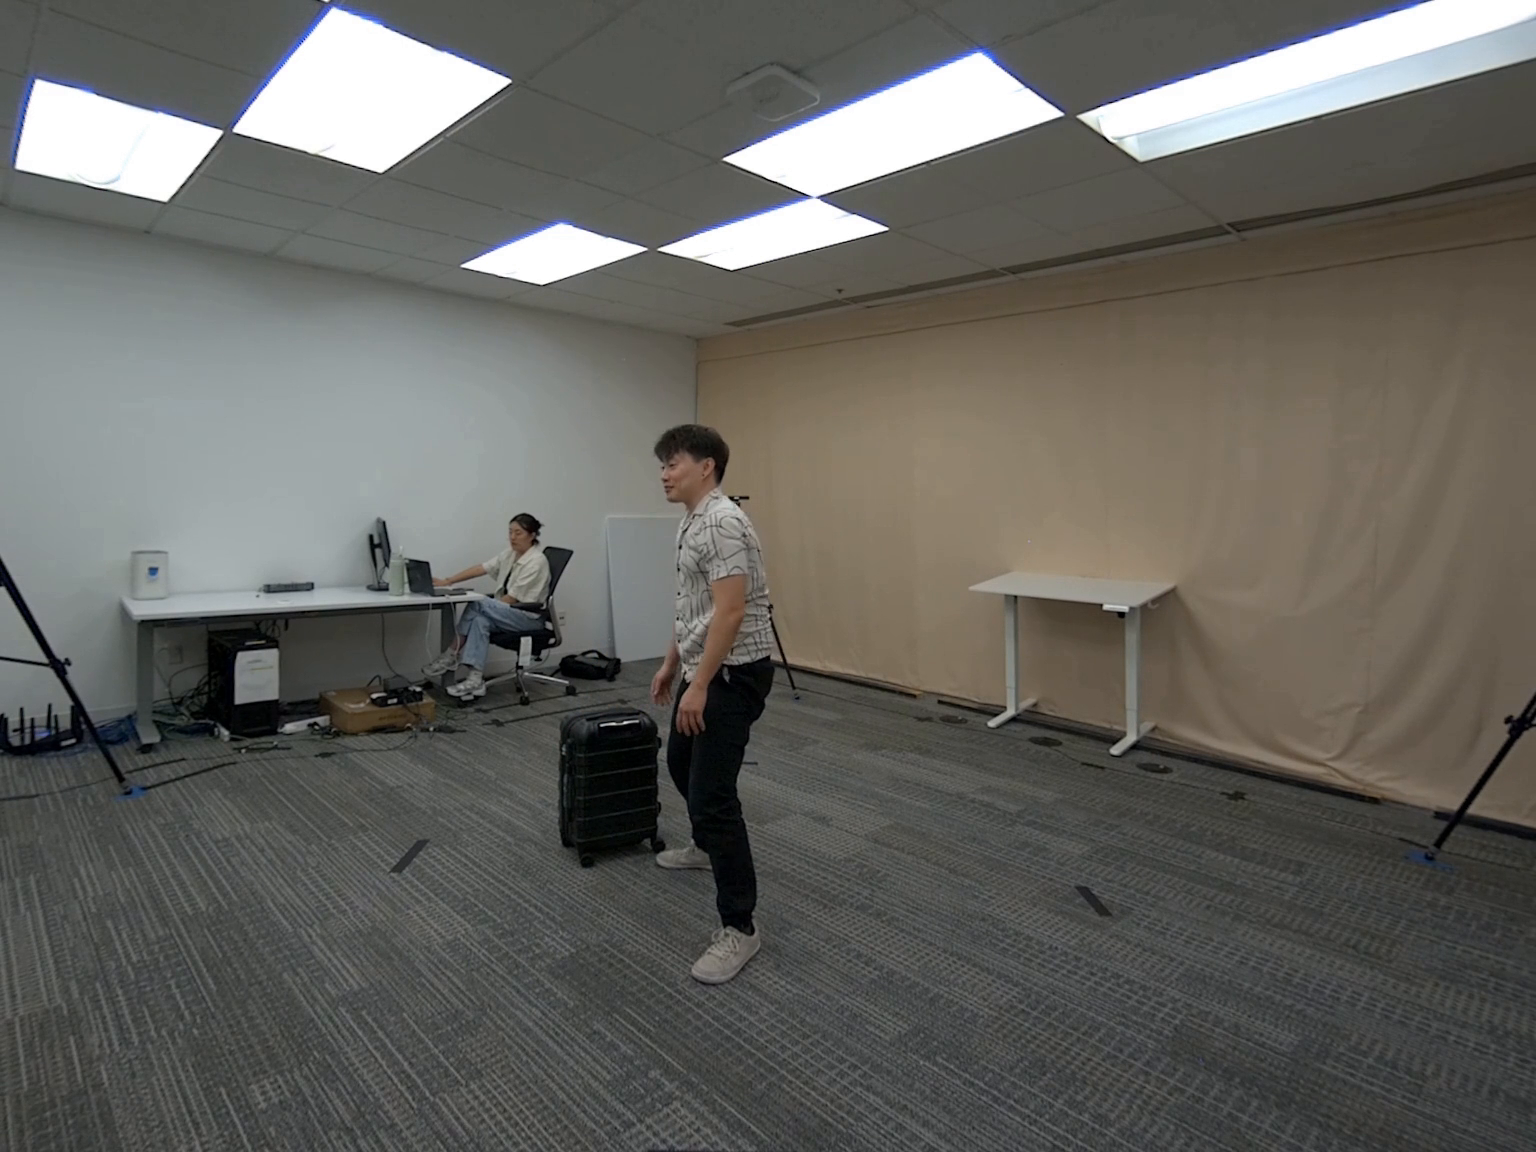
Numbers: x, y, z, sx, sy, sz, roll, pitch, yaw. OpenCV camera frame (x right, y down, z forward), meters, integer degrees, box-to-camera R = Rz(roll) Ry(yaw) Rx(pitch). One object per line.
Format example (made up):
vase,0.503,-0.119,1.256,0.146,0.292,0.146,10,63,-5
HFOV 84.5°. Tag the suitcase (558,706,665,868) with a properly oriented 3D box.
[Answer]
suitcase,-0.636,0.800,3.295,0.368,0.548,0.254,-2,4,-30
